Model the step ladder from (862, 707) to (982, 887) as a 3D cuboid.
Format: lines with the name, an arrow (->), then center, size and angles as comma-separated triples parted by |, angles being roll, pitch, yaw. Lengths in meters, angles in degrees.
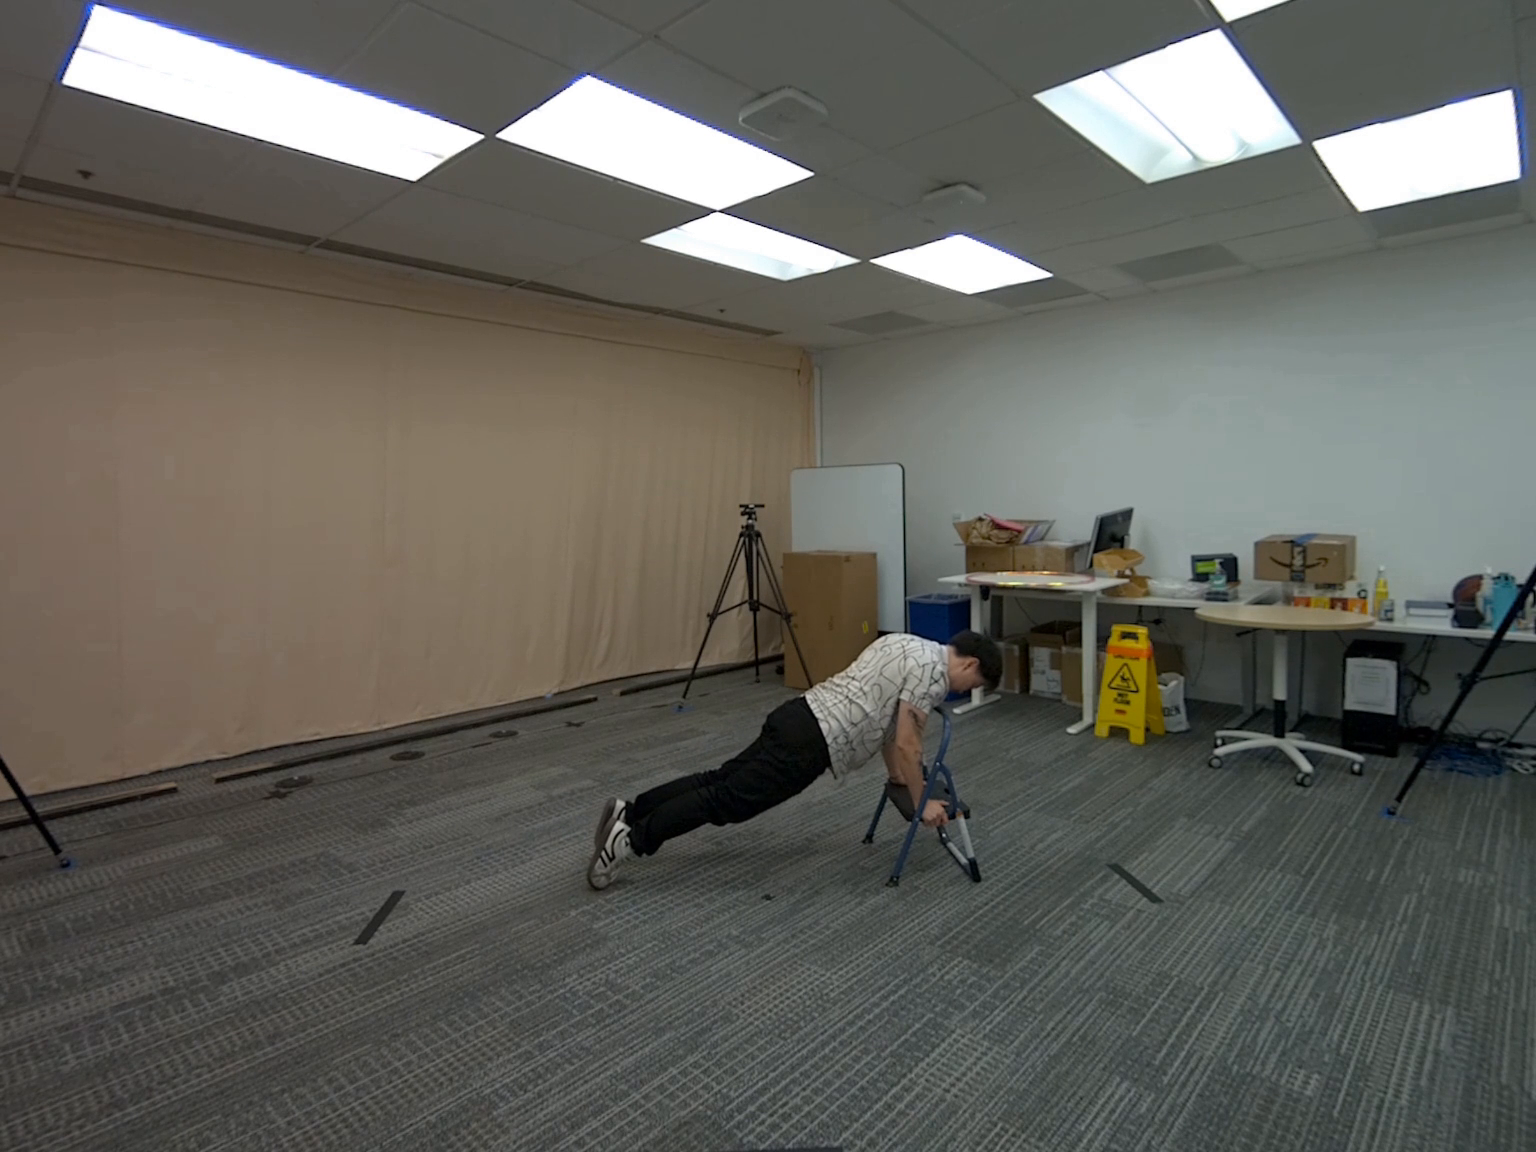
step ladder -> 0.586, 0.808, 3.247 | 0.347, 0.604, 0.434 | -2, 4, -6
